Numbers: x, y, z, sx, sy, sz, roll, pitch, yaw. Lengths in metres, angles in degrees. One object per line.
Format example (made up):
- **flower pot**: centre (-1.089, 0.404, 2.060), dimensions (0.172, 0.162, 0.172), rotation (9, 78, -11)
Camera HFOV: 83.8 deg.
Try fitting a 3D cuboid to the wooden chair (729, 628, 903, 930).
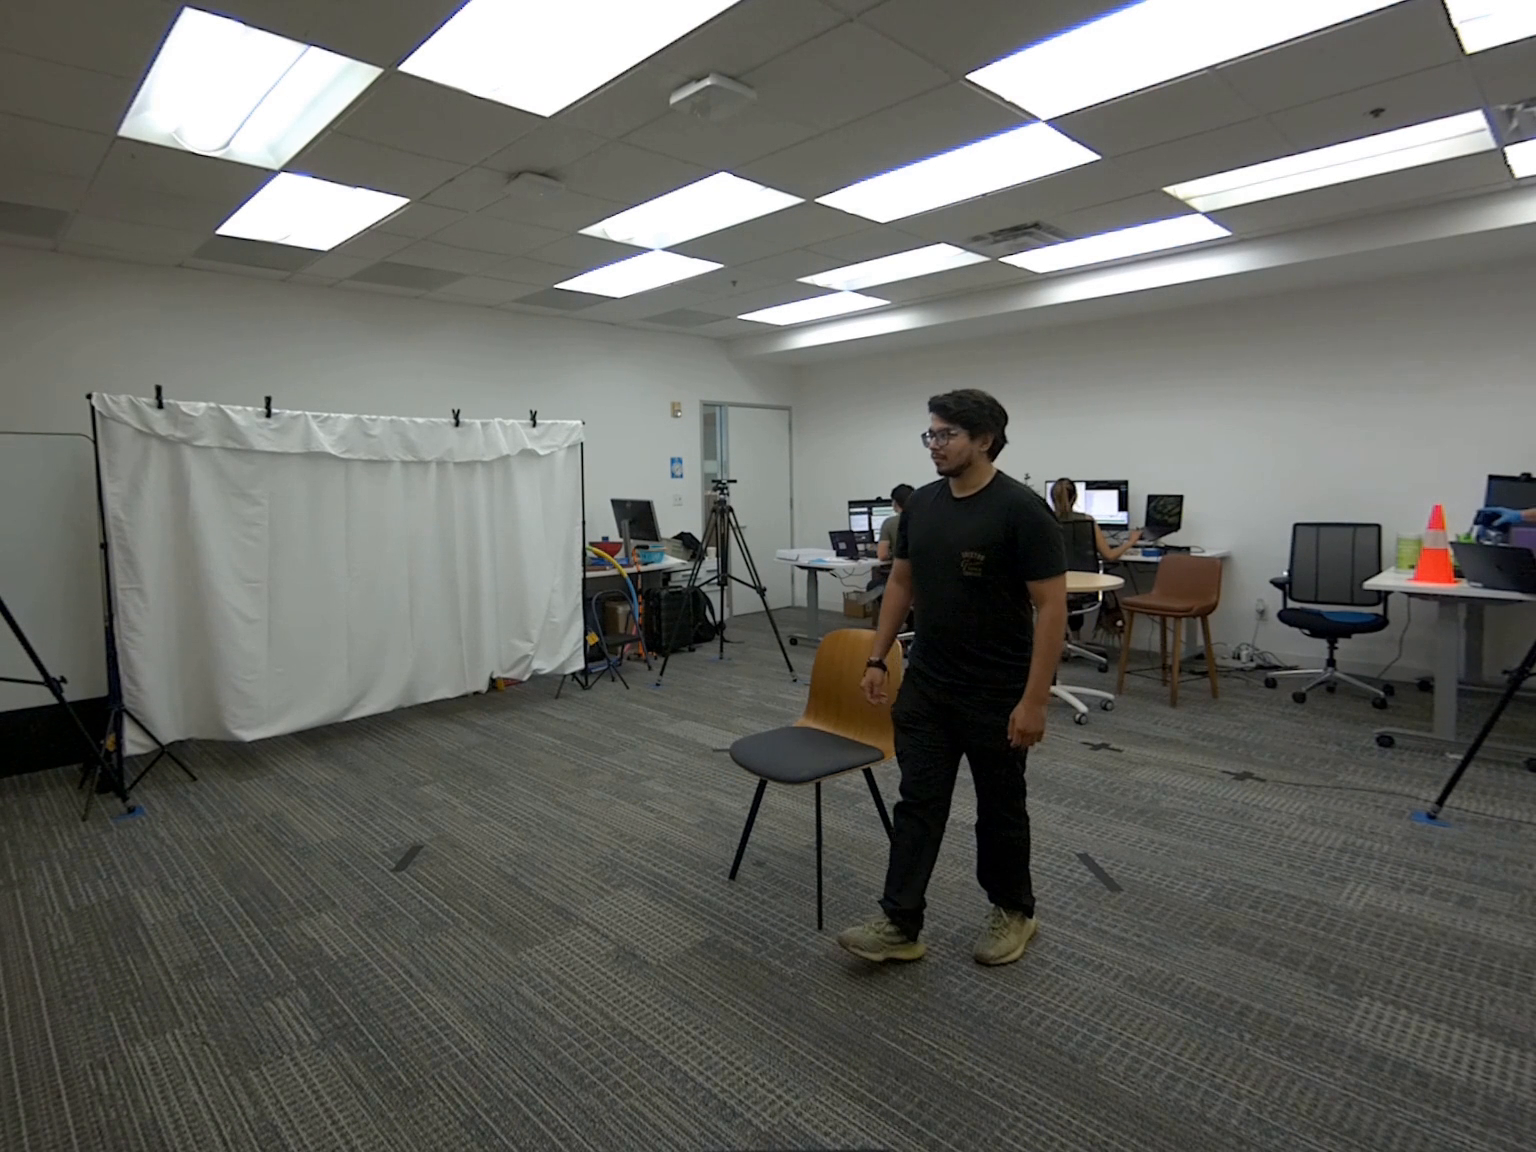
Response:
- **wooden chair**: centre (0.169, 0.636, 2.916), dimensions (0.508, 0.877, 0.492), rotation (2, 1, -40)
